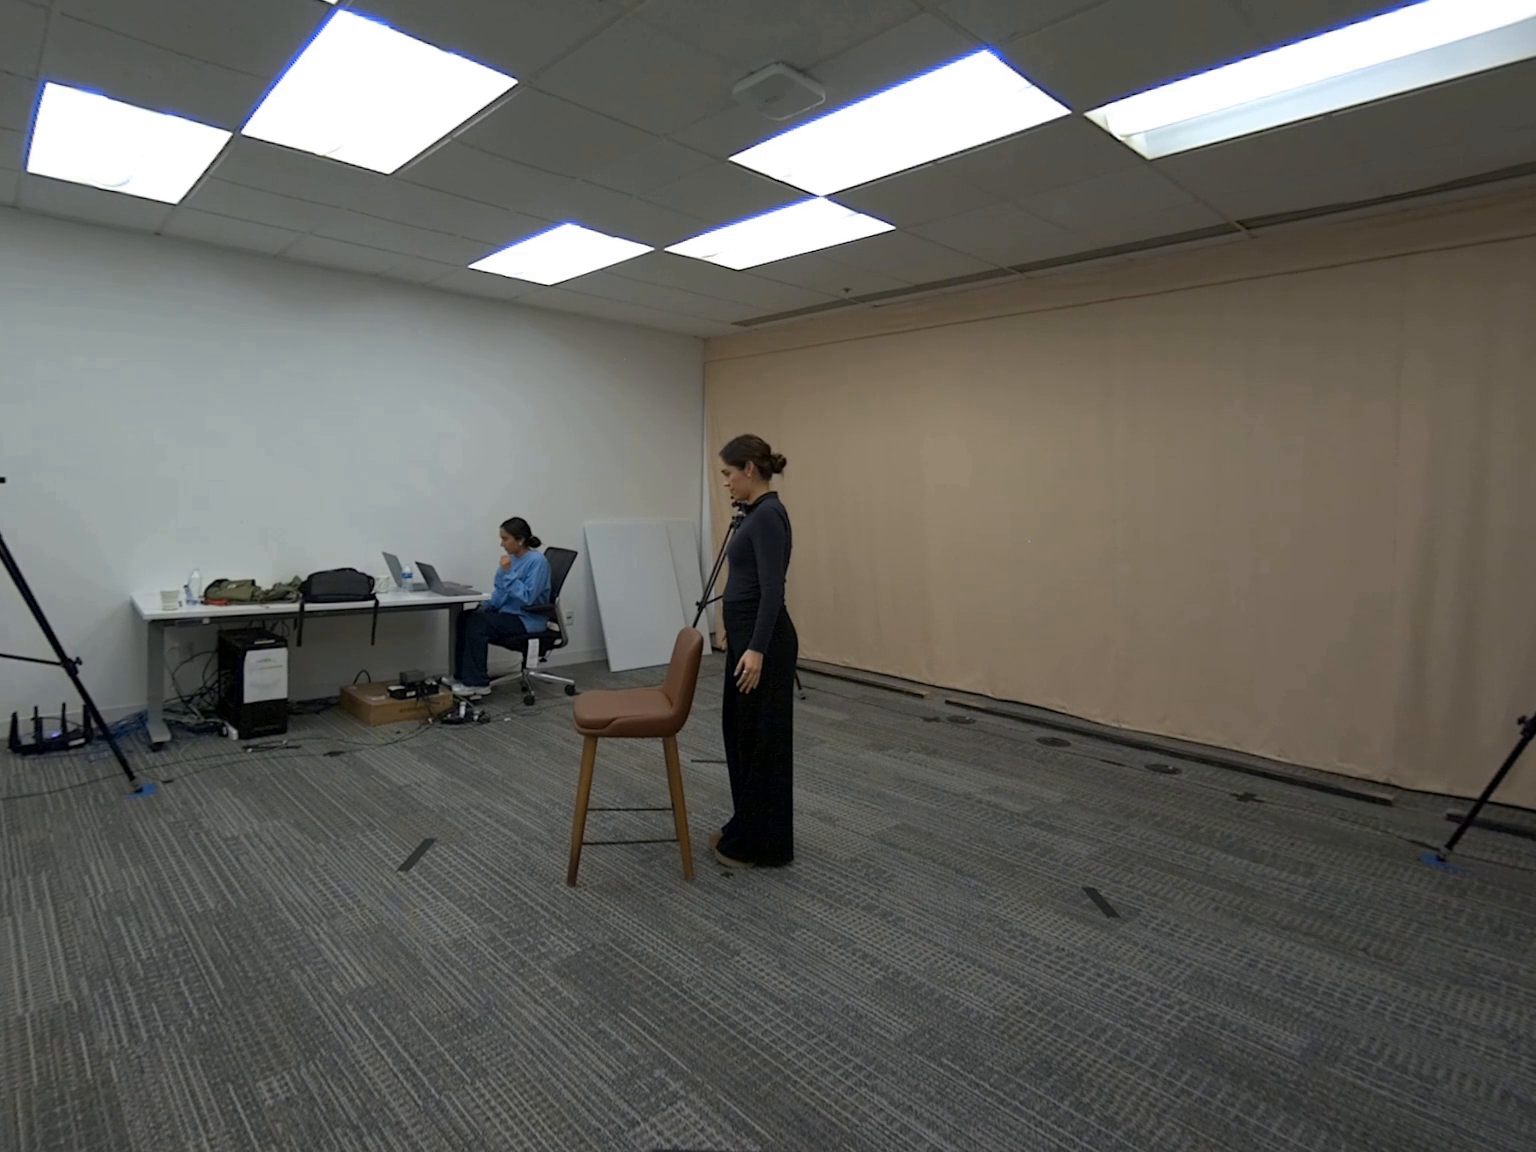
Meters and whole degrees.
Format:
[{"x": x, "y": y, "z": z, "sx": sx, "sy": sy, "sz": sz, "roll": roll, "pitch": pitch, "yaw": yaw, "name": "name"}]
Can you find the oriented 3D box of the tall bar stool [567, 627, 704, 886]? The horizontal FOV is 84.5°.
[{"x": -0.510, "y": 0.651, "z": 3.178, "sx": 0.464, "sy": 0.888, "sz": 0.461, "roll": 3, "pitch": 3, "yaw": -11, "name": "tall bar stool"}]
